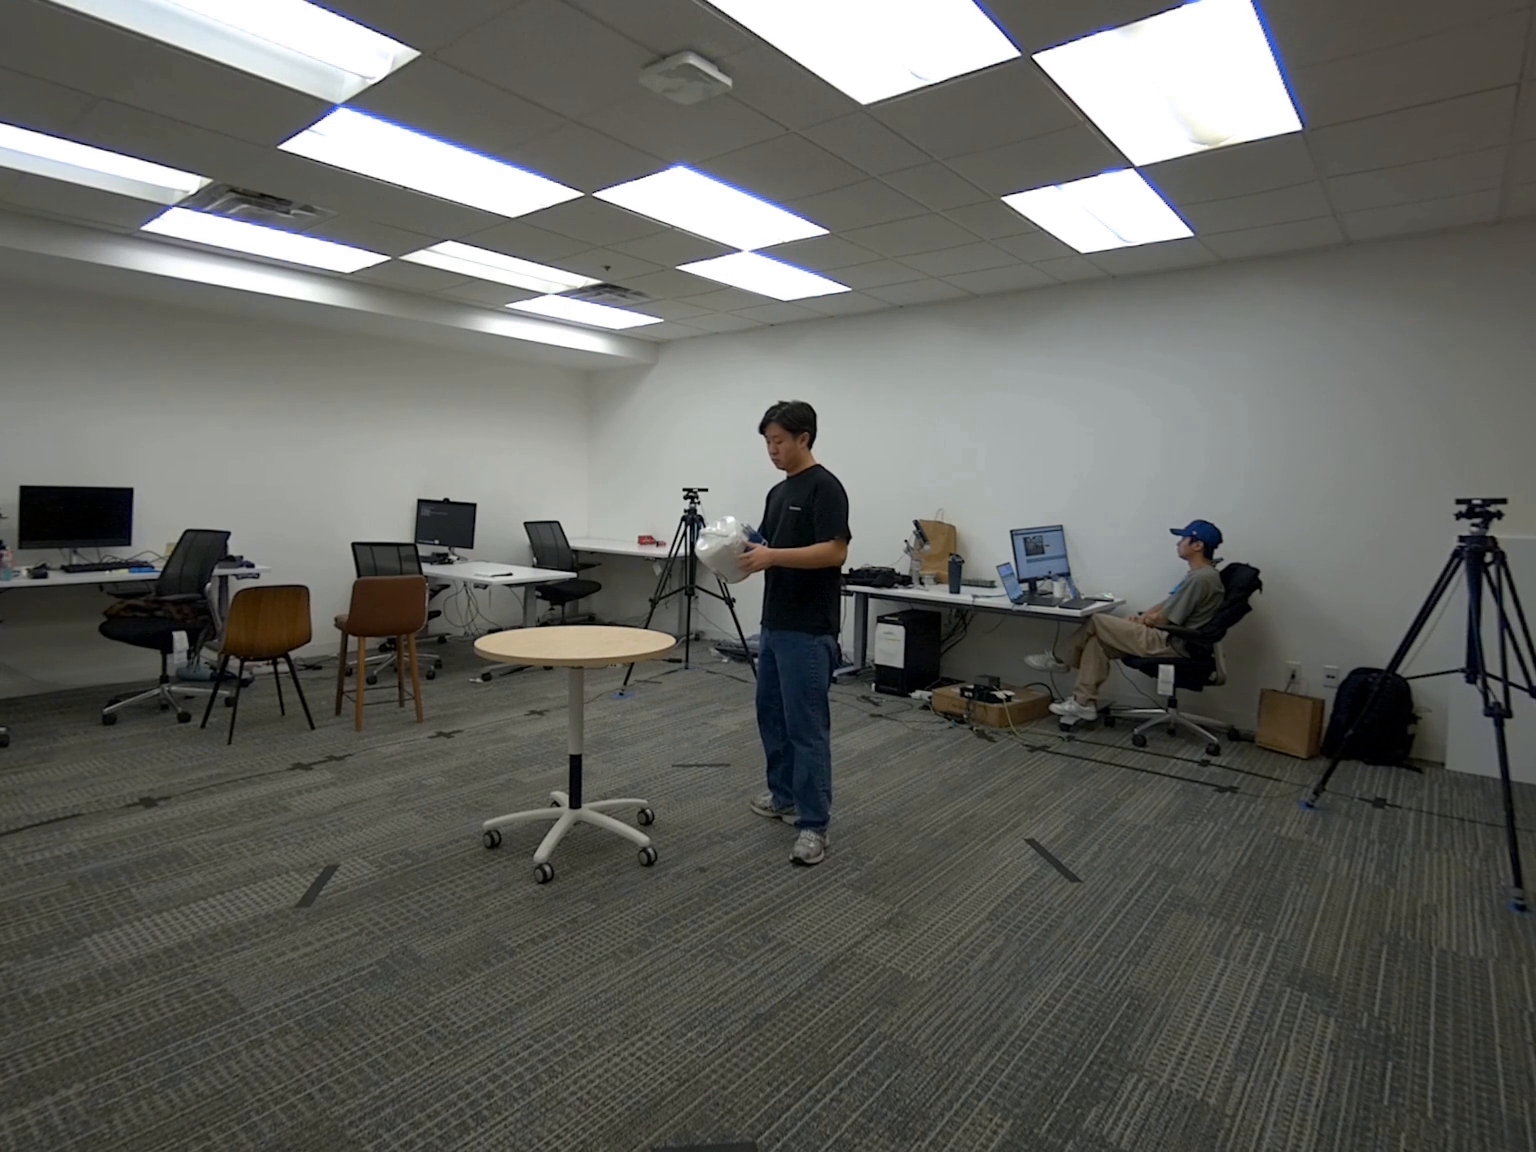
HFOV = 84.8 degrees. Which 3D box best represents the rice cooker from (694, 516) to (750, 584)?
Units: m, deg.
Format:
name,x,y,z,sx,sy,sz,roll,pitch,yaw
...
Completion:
name,x,y,z,sx,sy,sz,roll,pitch,yaw
rice cooker,-0.172,-0.113,3.323,0.225,0.218,0.227,45,-22,-28
